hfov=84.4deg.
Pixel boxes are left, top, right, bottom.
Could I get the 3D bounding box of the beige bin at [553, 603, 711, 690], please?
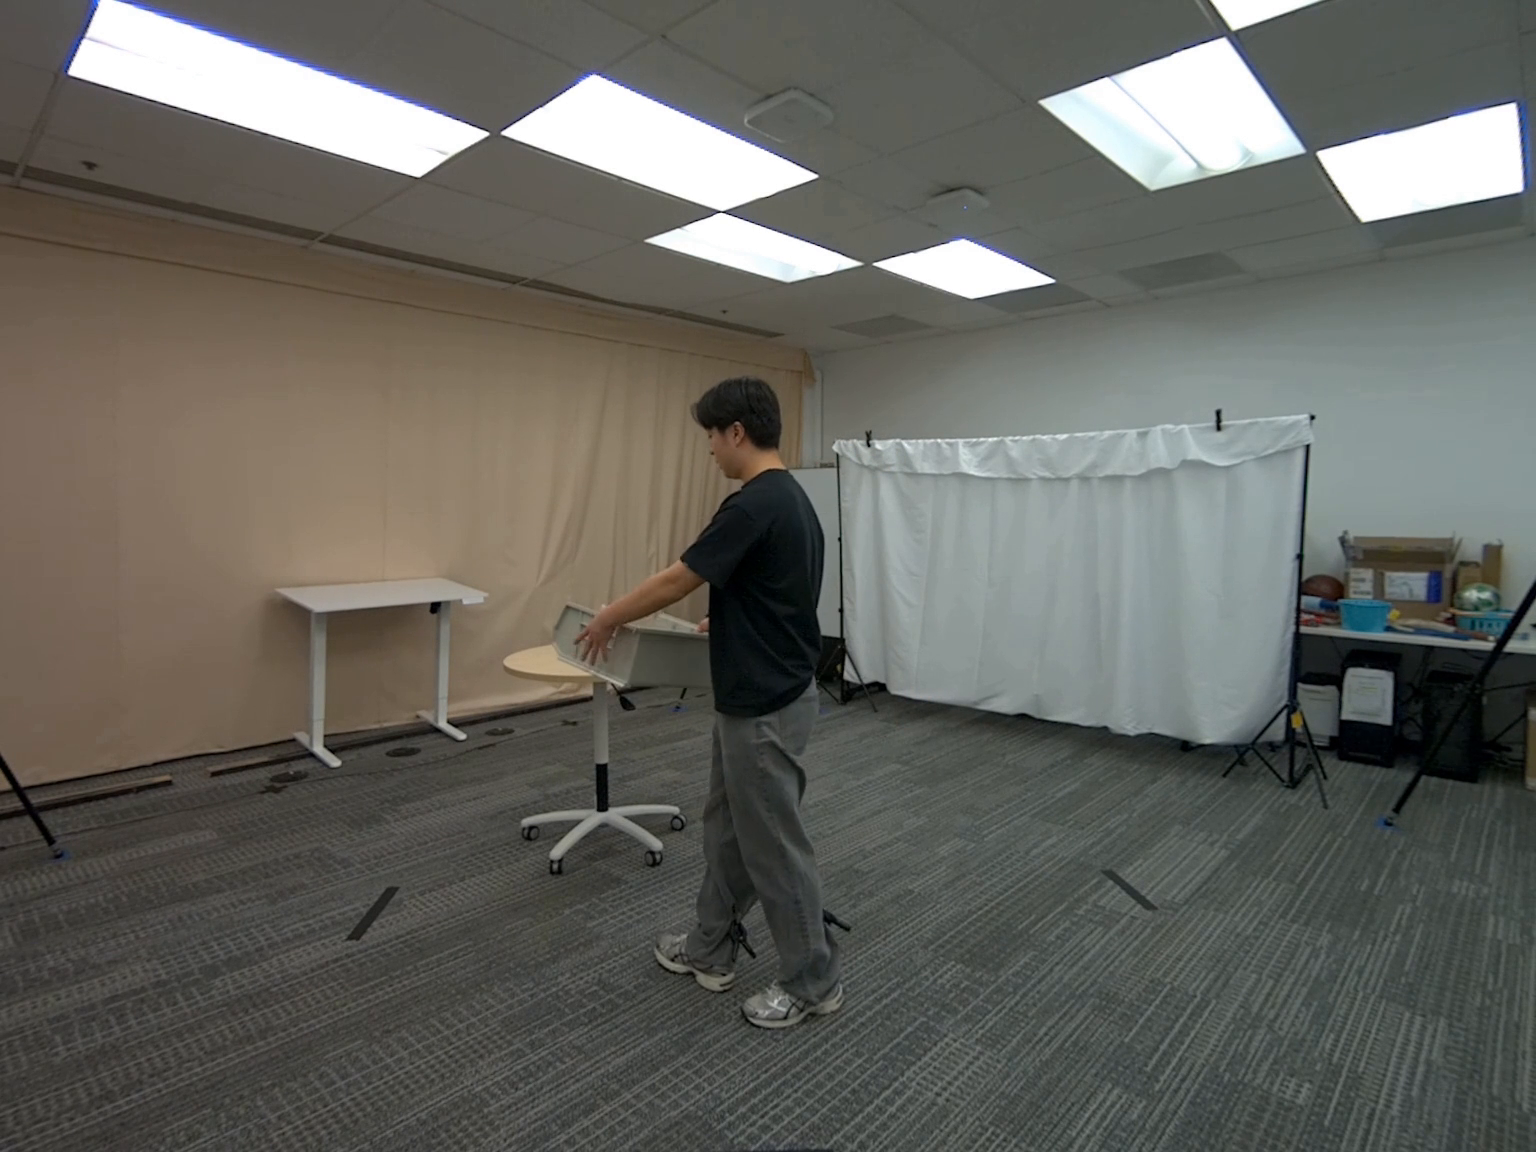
[{"bbox_3d":[-0.395,0.222,2.640,0.391,0.189,0.407,16,3,41],"label":"beige bin"}]
